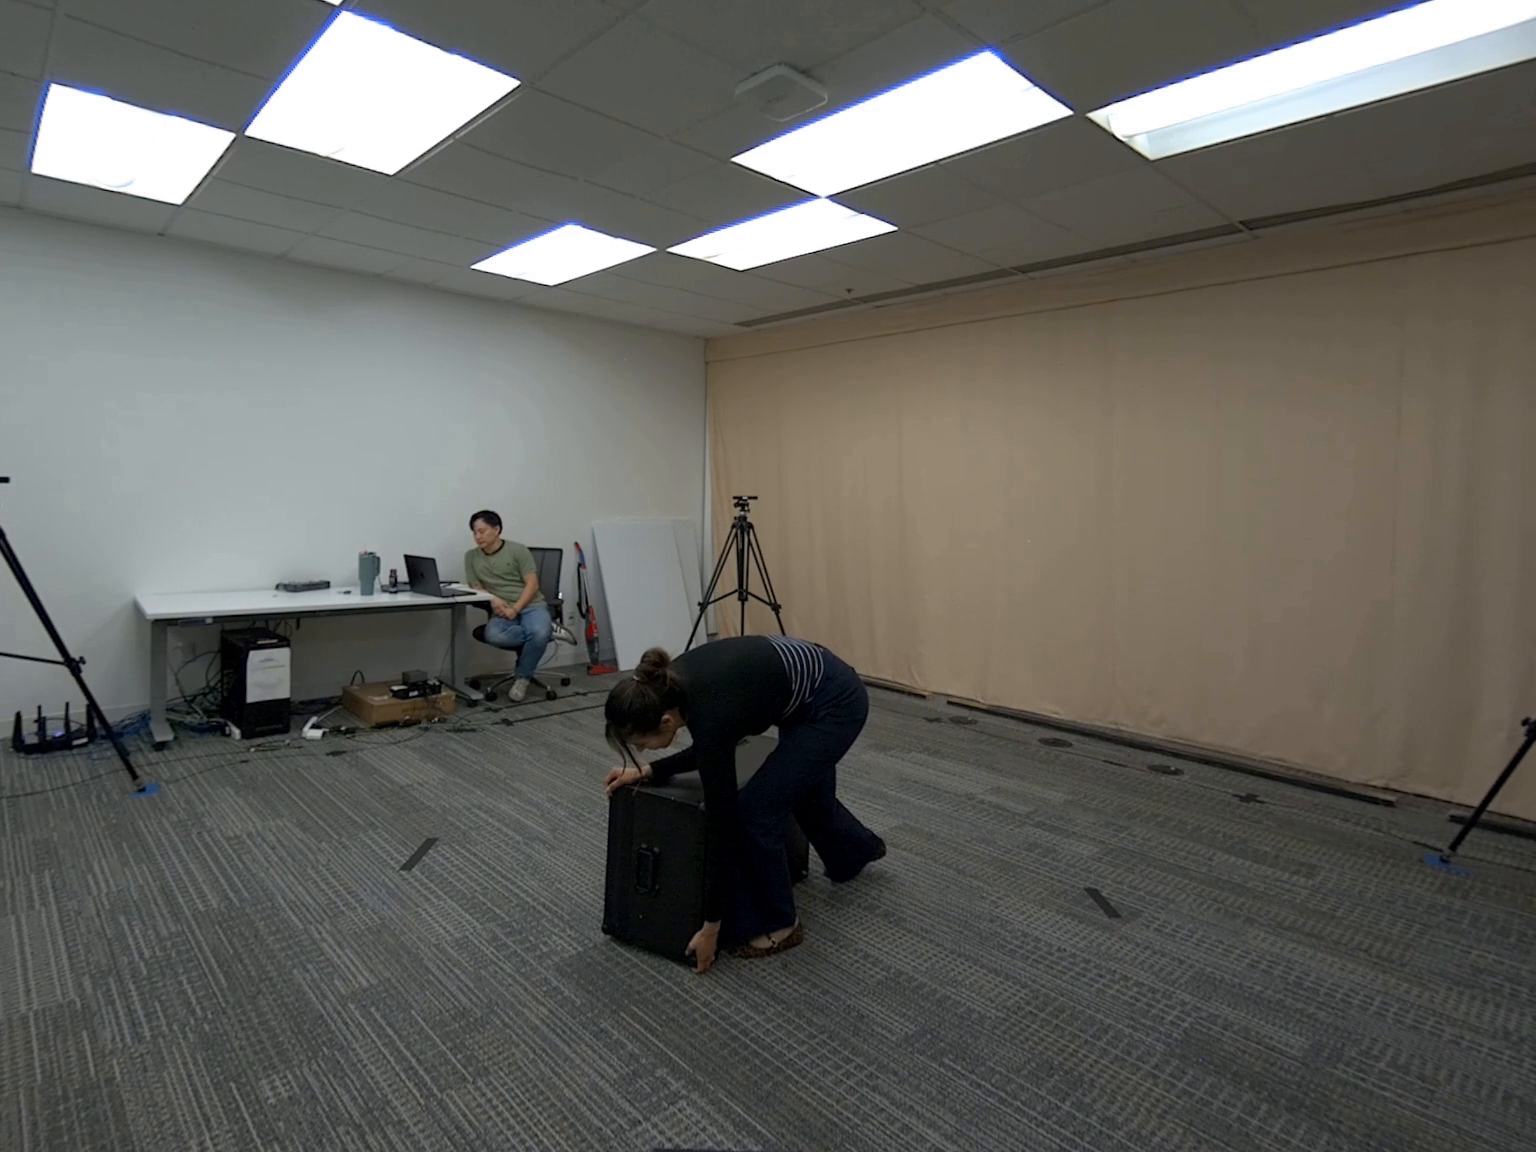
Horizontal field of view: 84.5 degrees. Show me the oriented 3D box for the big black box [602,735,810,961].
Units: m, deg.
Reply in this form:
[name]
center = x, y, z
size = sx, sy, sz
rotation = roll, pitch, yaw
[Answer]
[big black box]
center = -0.149, 0.867, 2.883
size = 0.404, 0.520, 0.846
rotation = 4, 5, 27
